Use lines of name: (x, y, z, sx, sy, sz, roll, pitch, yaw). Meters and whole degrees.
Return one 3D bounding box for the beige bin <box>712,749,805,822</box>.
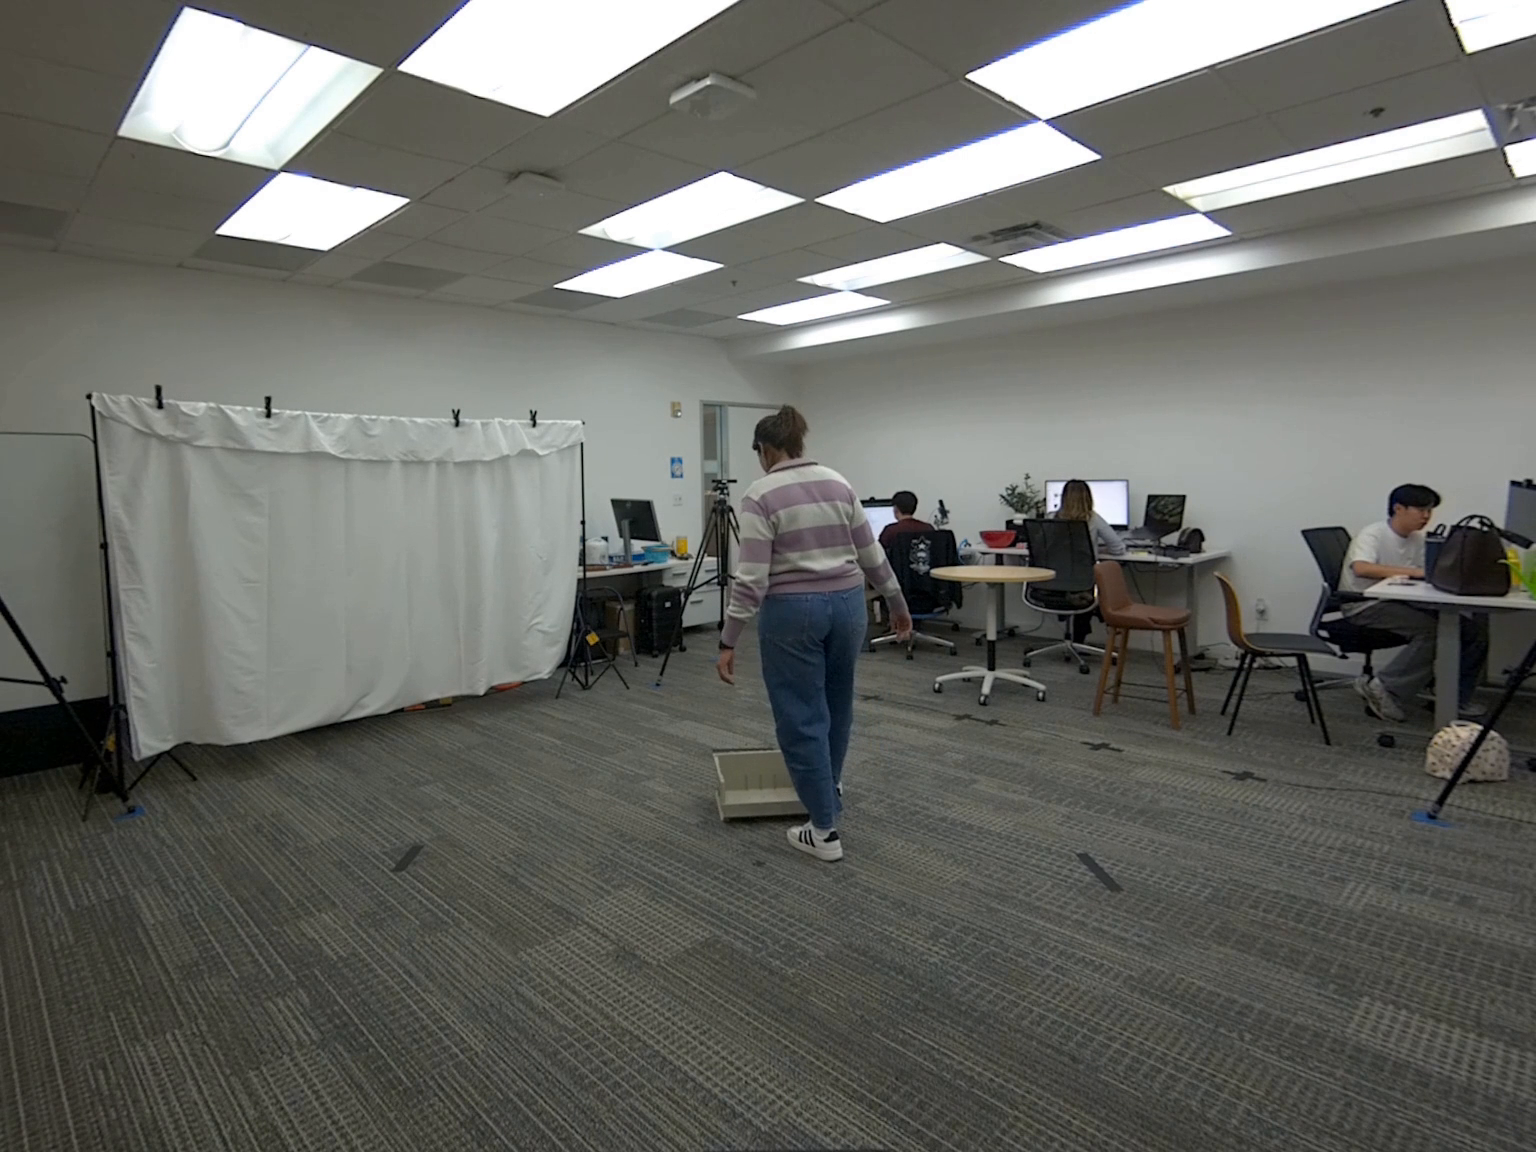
beige bin: (-0.008, 0.904, 3.649, 0.420, 0.188, 0.381, -2, 6, -7)
